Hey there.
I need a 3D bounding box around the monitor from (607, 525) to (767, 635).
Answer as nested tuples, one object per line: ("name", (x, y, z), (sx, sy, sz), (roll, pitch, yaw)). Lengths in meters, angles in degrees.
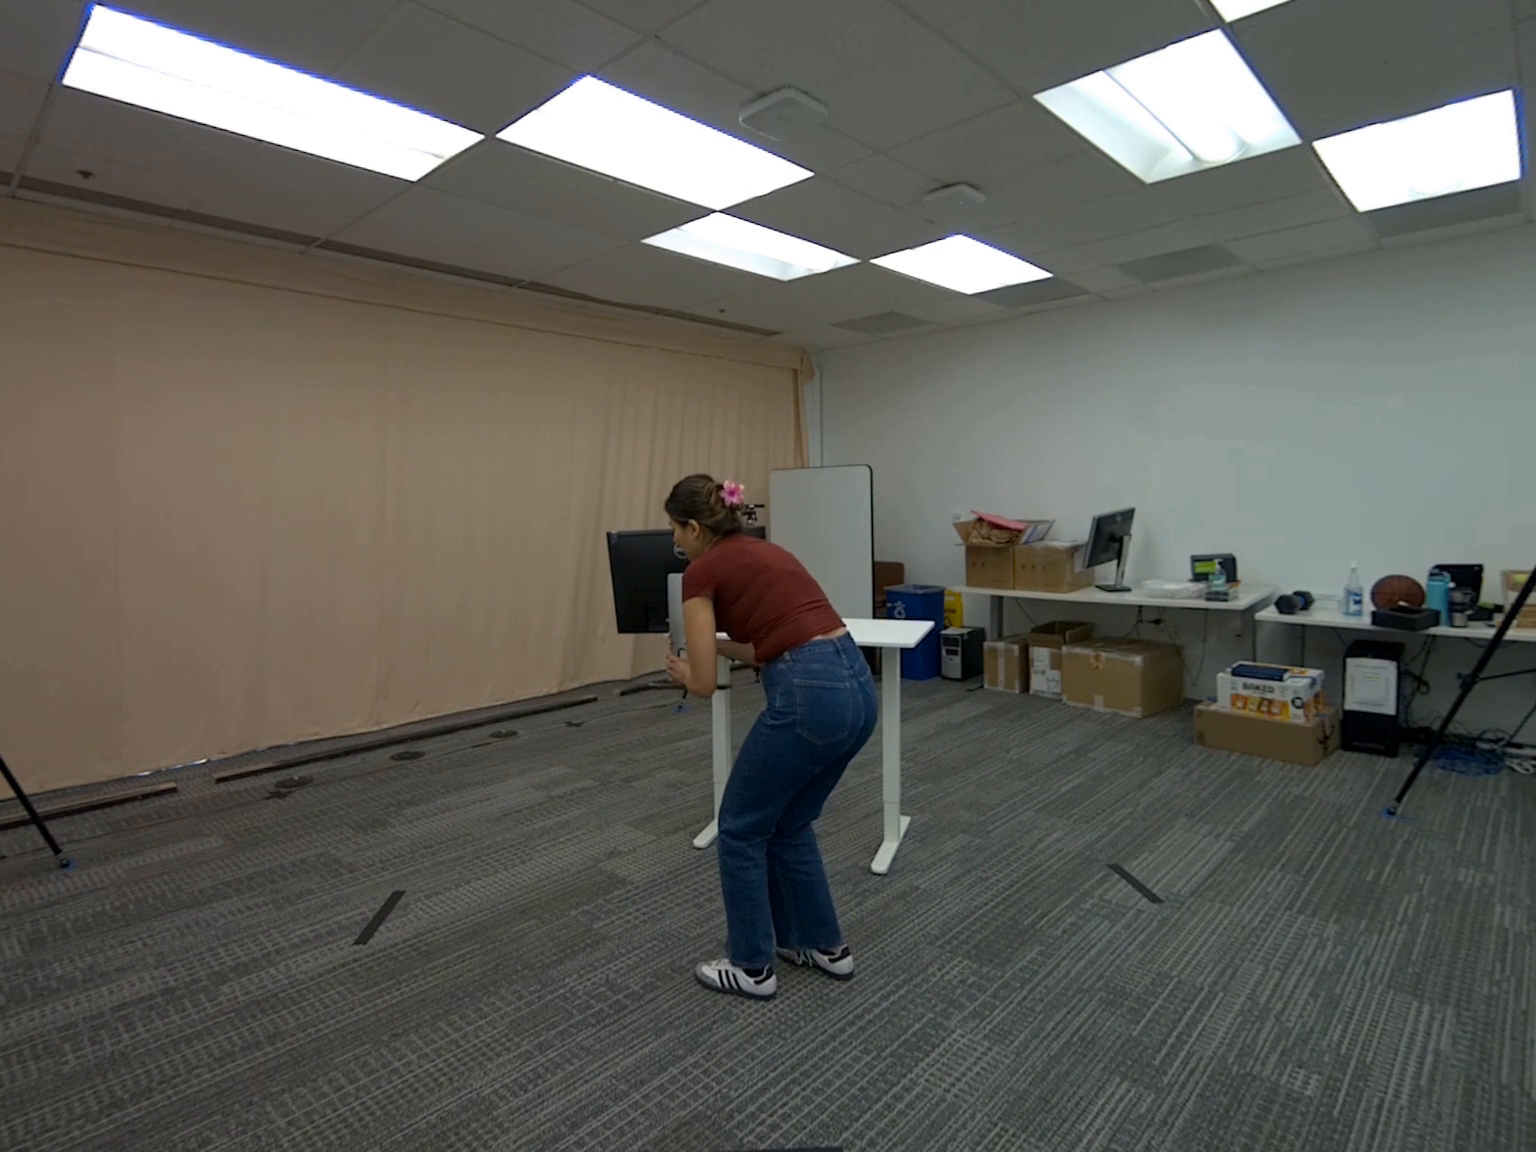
("monitor", (-0.266, 0.105, 2.709), (0.546, 0.524, 0.184), (-2, -4, 12))
